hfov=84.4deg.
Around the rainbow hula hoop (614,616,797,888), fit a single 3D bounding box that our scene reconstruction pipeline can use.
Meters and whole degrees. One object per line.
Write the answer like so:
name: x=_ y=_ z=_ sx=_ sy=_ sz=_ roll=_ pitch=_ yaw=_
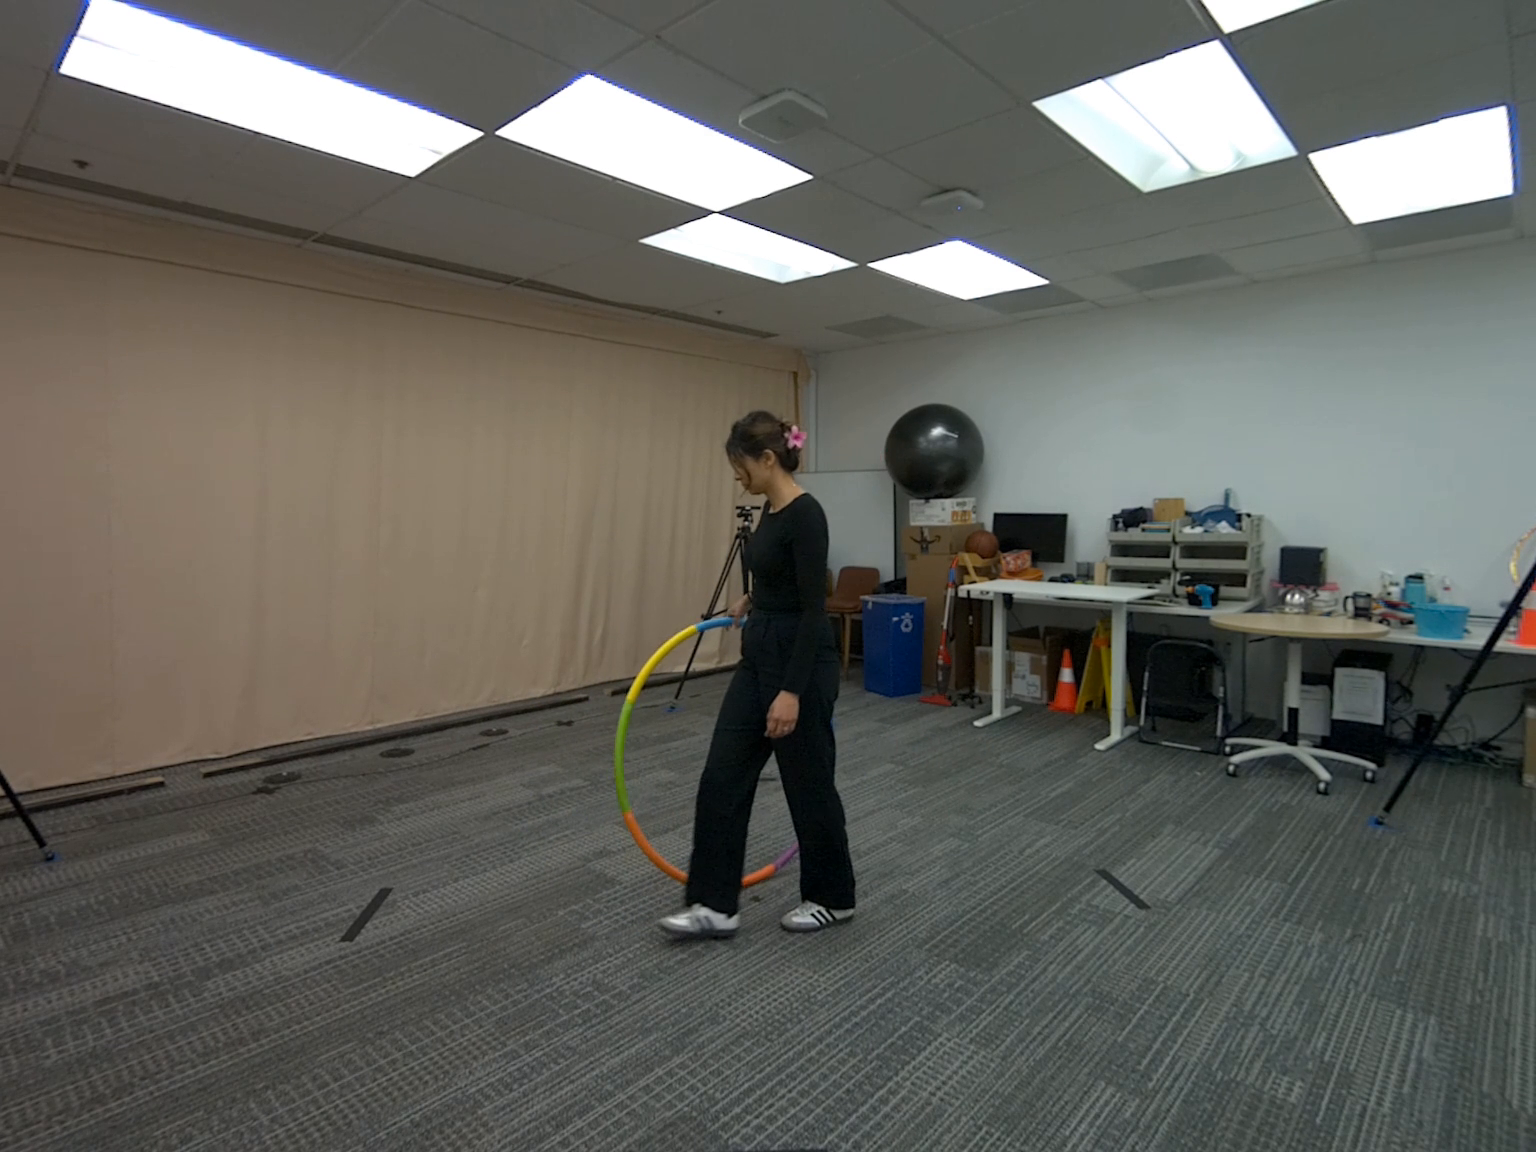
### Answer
rainbow hula hoop: x=-0.115 y=0.650 z=3.123 sx=0.950 sy=0.981 sz=0.036 roll=-3 pitch=-5 yaw=-34
